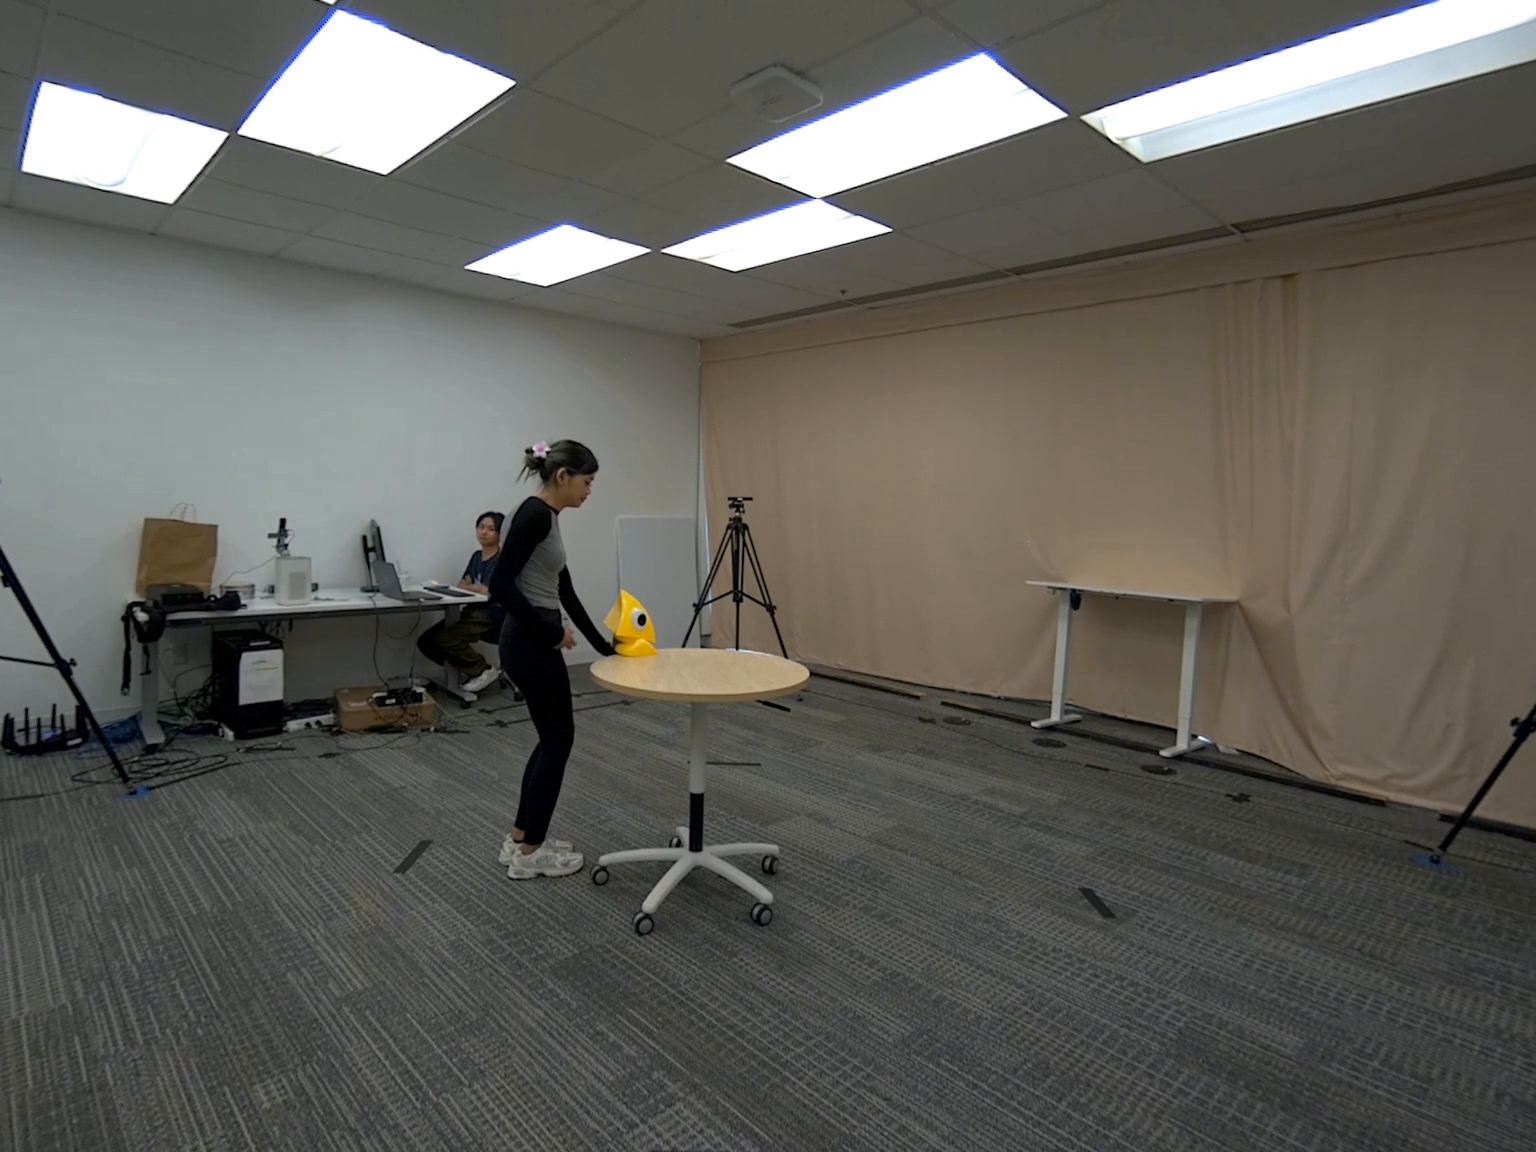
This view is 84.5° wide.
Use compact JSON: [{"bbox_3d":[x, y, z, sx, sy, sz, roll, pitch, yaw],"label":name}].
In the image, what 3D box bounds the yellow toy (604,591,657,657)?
[{"bbox_3d":[-0.522,0.166,3.211,0.189,0.229,0.210,2,10,-25],"label":"yellow toy"}]
